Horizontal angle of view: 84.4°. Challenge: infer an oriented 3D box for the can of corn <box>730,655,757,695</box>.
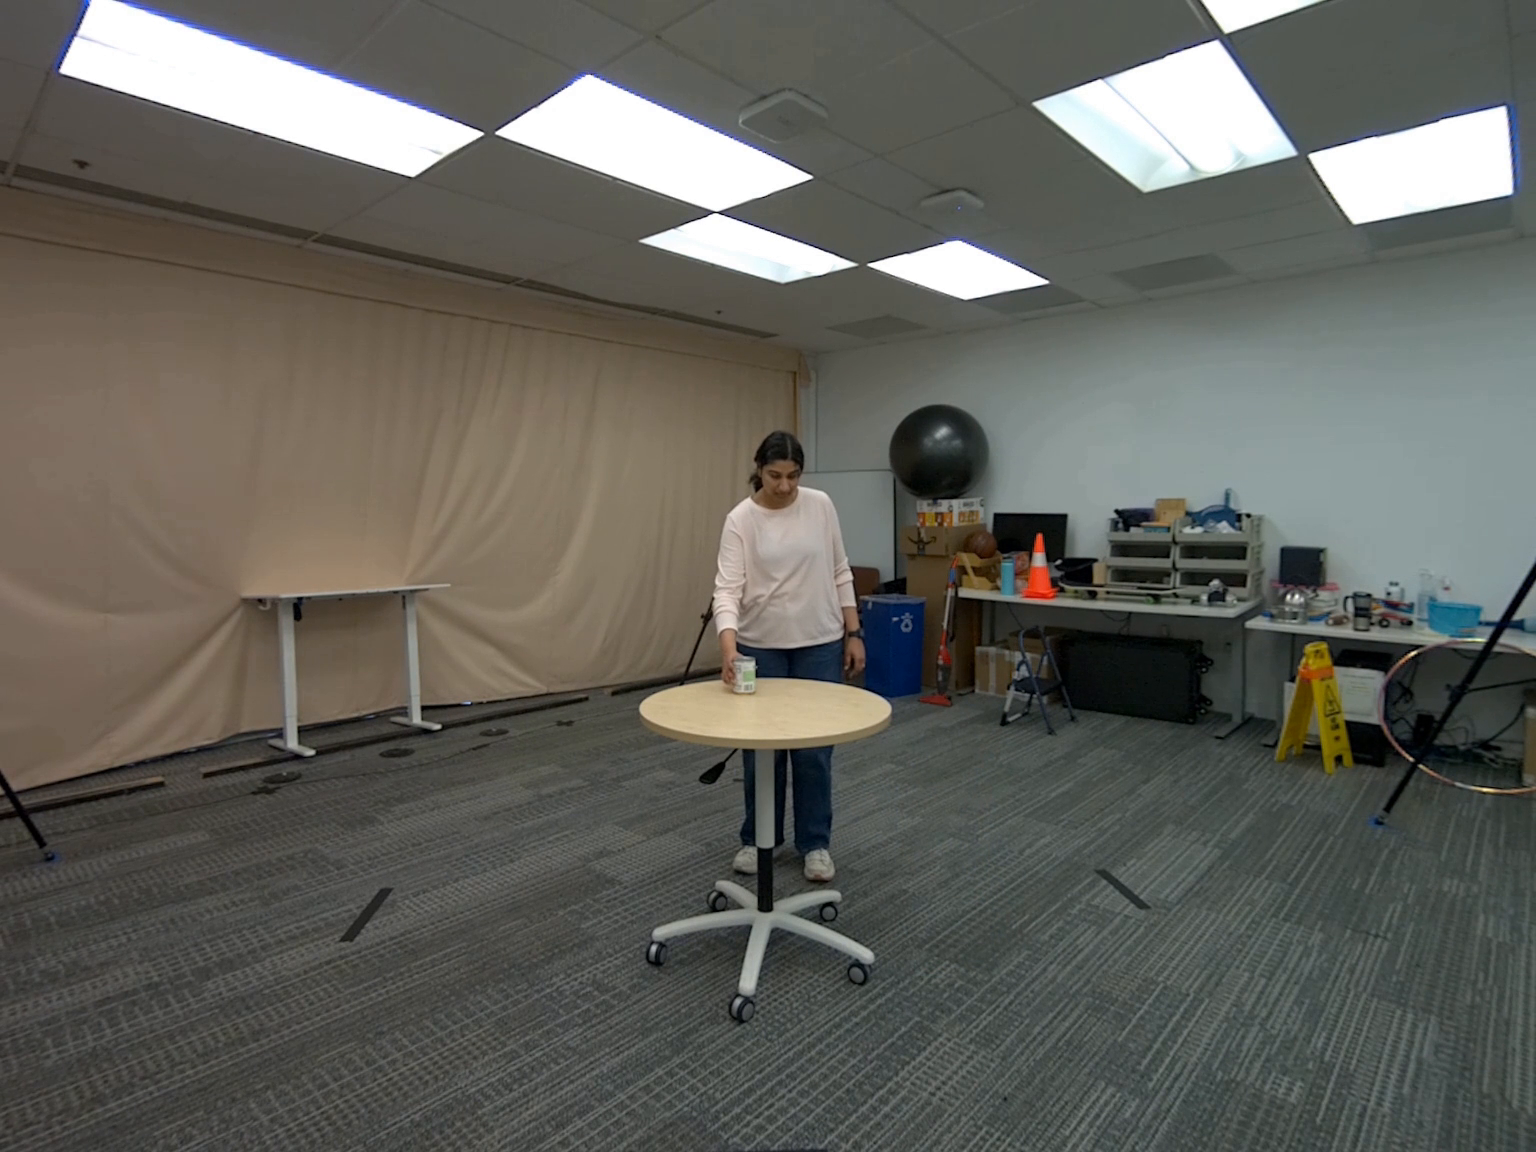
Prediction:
[{"bbox_3d":[-0.077,0.324,2.740,0.074,0.111,0.074,0,3,-2],"label":"can of corn"}]
